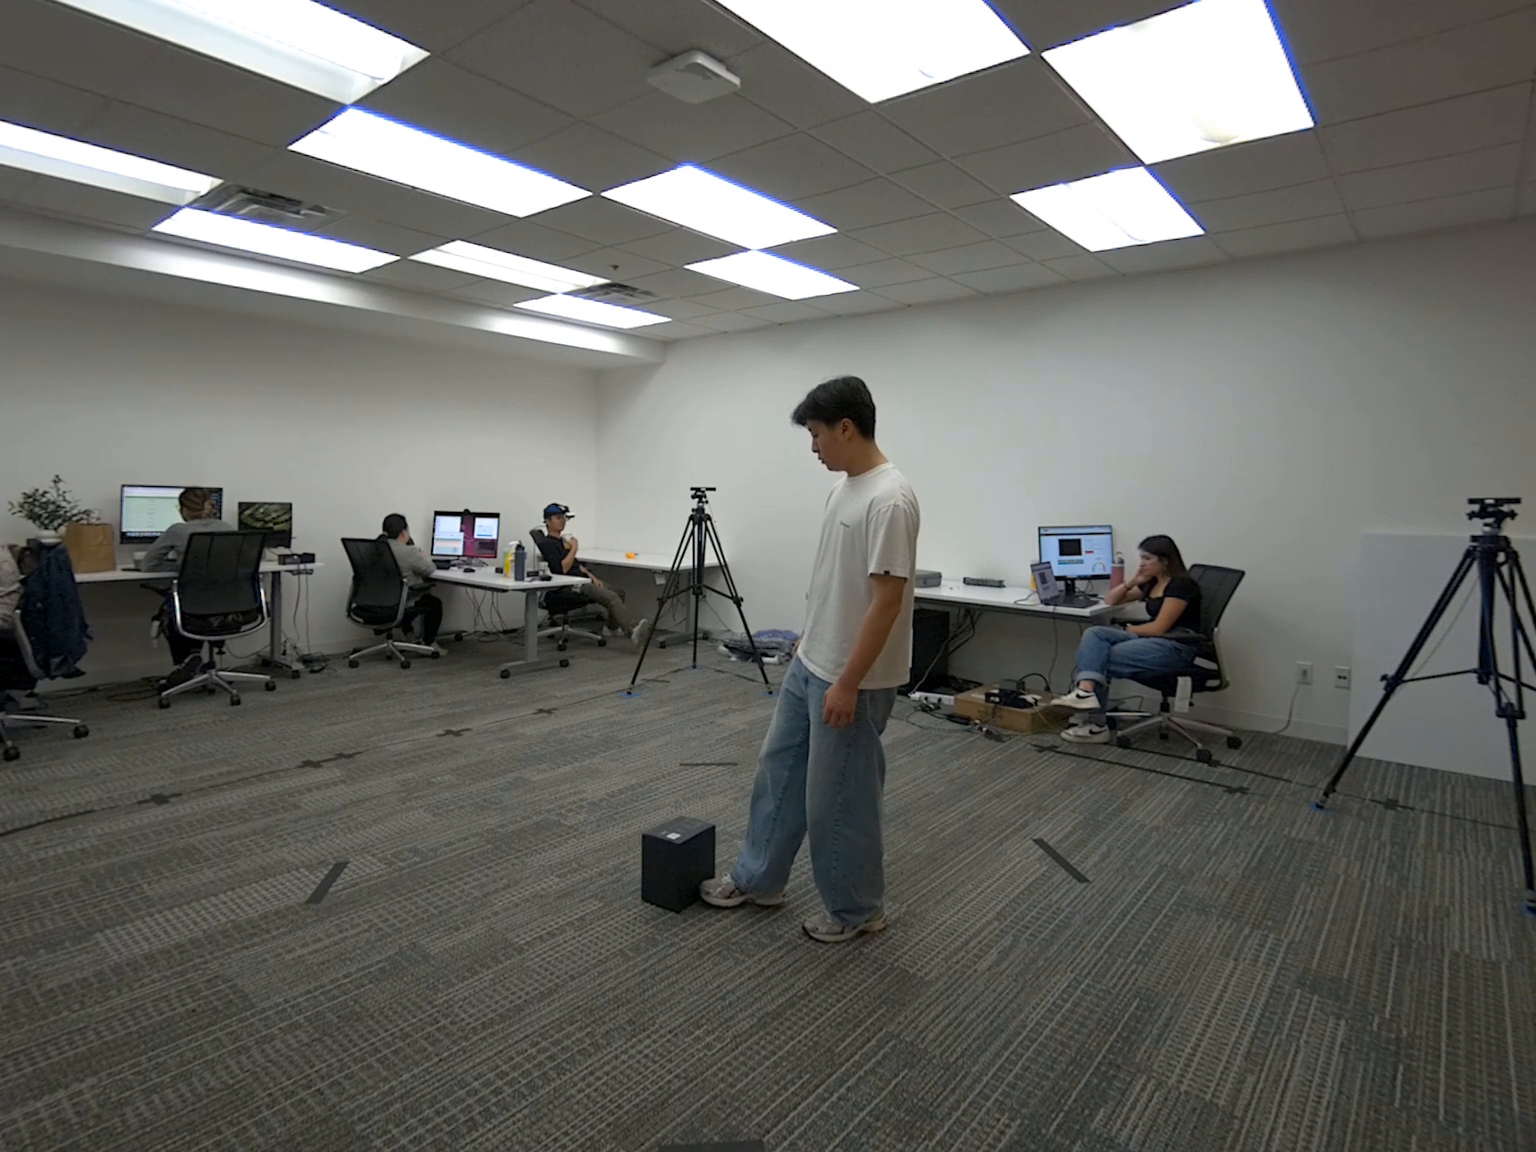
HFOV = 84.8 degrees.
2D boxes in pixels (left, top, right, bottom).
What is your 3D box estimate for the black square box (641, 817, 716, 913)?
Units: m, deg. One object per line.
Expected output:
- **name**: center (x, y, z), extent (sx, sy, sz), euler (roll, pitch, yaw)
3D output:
- **black square box**: center (-0.308, 0.964, 2.890), extent (0.160, 0.227, 0.211), euler (2, 3, 32)
